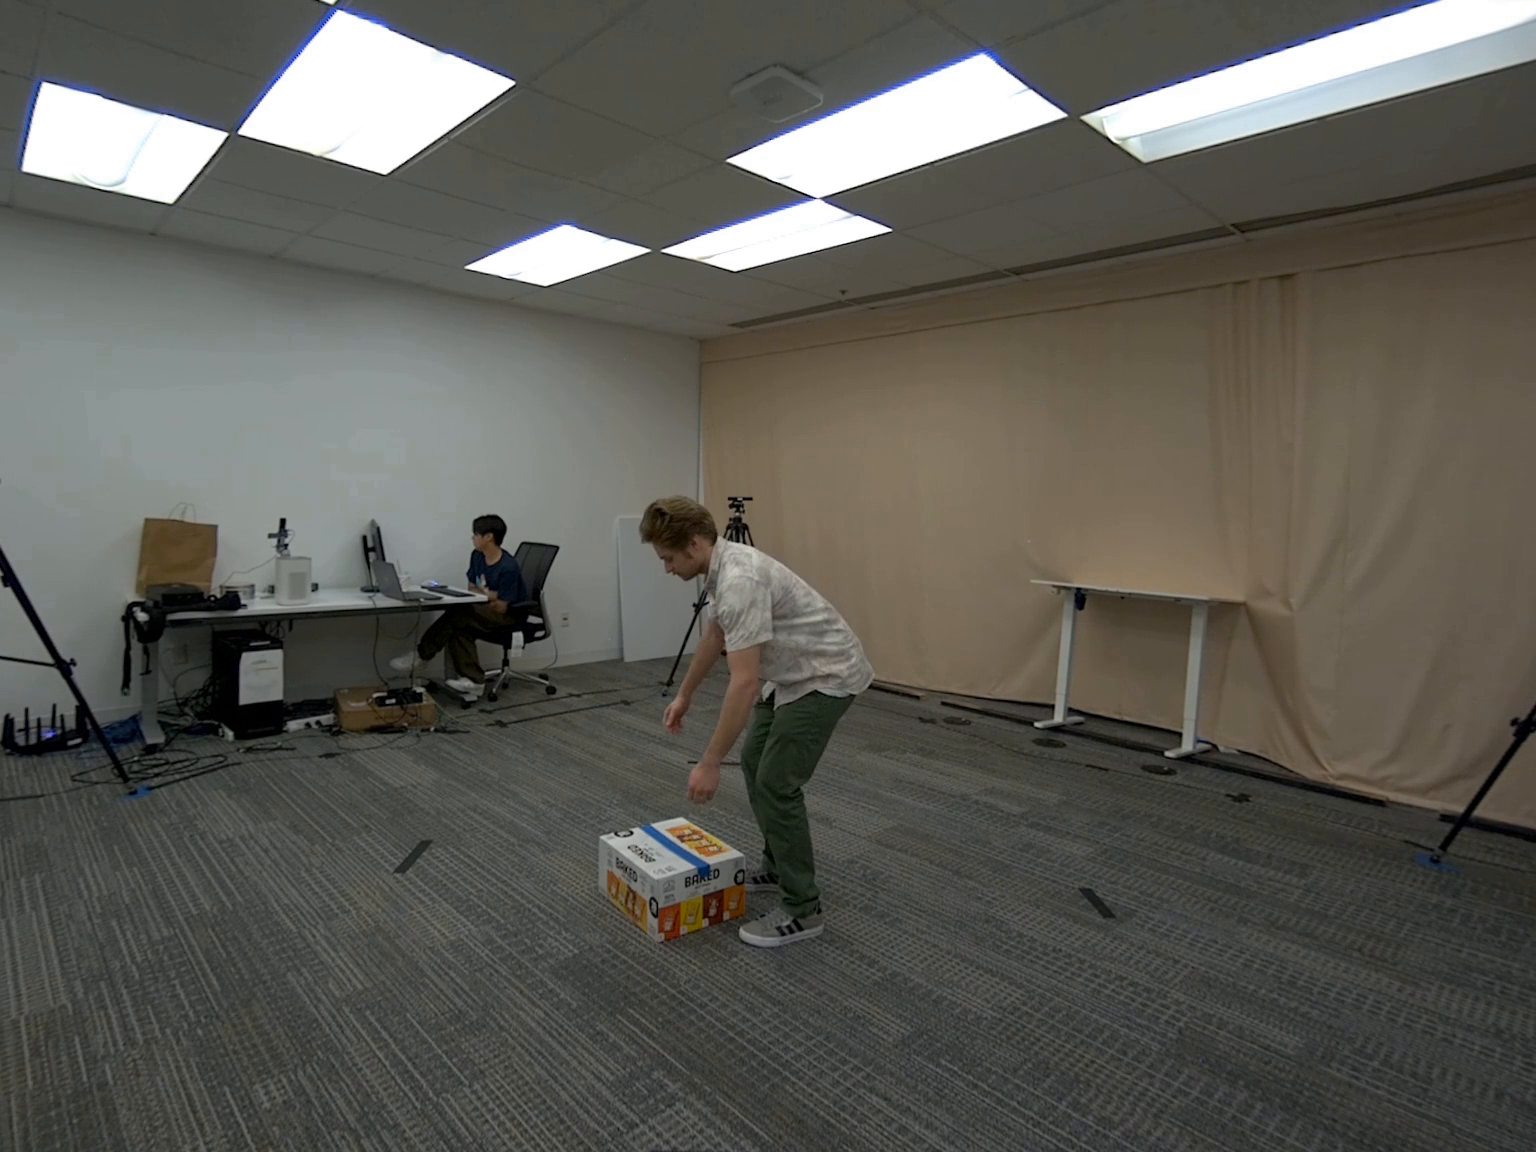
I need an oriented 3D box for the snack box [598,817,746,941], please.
[{"bbox_3d":[-0.339,1.024,2.874,0.333,0.205,0.415,-2,6,-37],"label":"snack box"}]
